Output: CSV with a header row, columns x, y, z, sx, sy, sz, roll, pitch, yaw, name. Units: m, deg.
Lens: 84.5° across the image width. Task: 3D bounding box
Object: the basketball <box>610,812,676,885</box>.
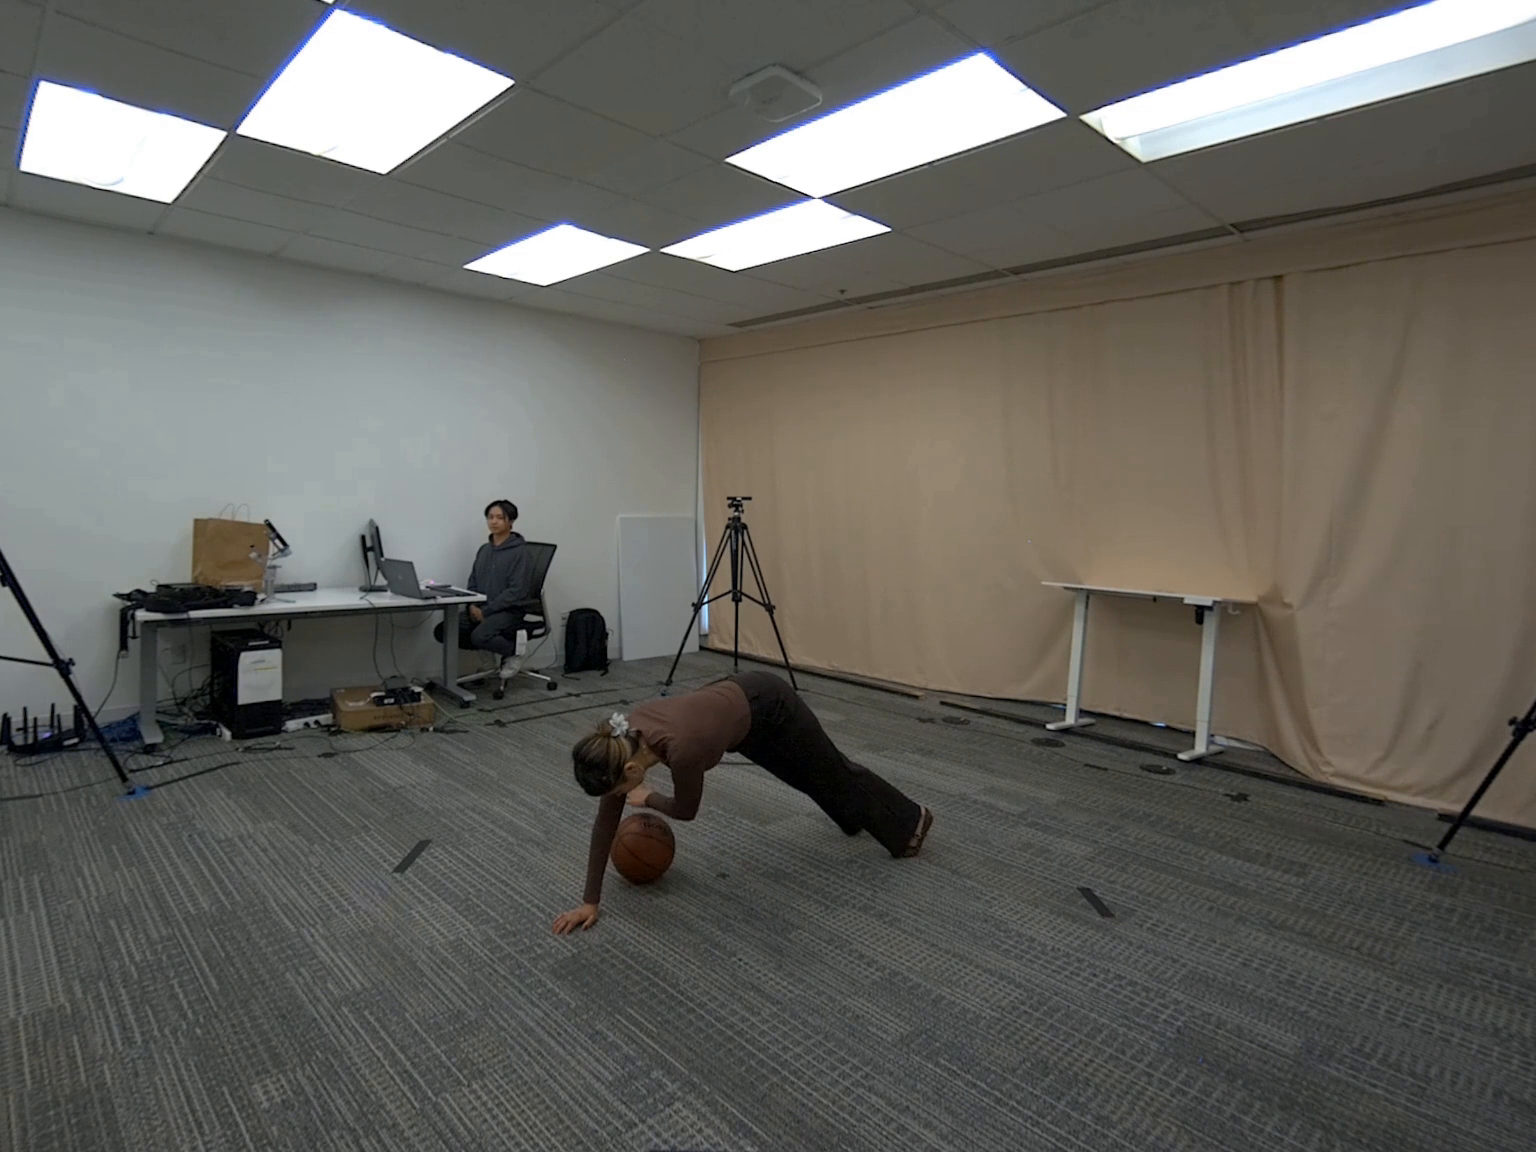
x,y,z,sx,sy,sz,roll,pitch,yaw,name
-0.456,0.983,3.050,0.236,0.235,0.237,1,4,-1,basketball
